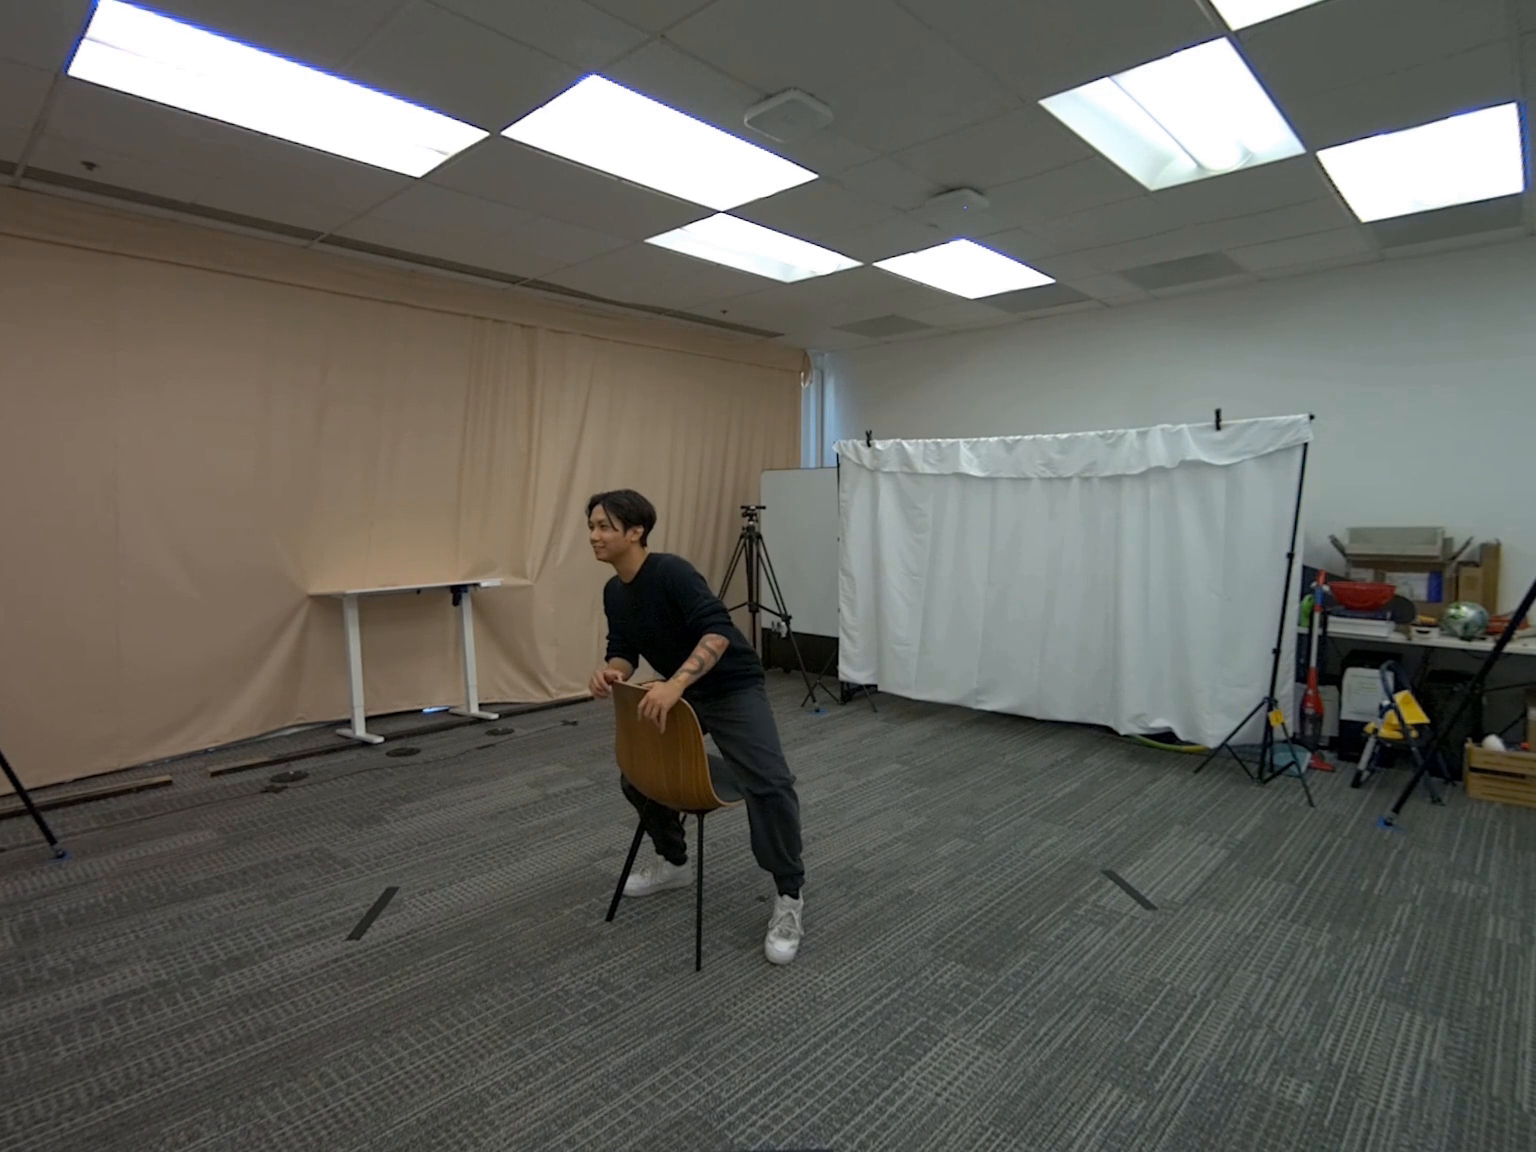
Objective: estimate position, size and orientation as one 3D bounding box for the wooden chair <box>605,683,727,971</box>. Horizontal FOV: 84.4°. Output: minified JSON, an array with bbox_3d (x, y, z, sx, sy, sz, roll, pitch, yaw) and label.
[{"bbox_3d":[-0.224,0.733,2.810,0.494,0.874,0.508,2,8,43],"label":"wooden chair"}]
